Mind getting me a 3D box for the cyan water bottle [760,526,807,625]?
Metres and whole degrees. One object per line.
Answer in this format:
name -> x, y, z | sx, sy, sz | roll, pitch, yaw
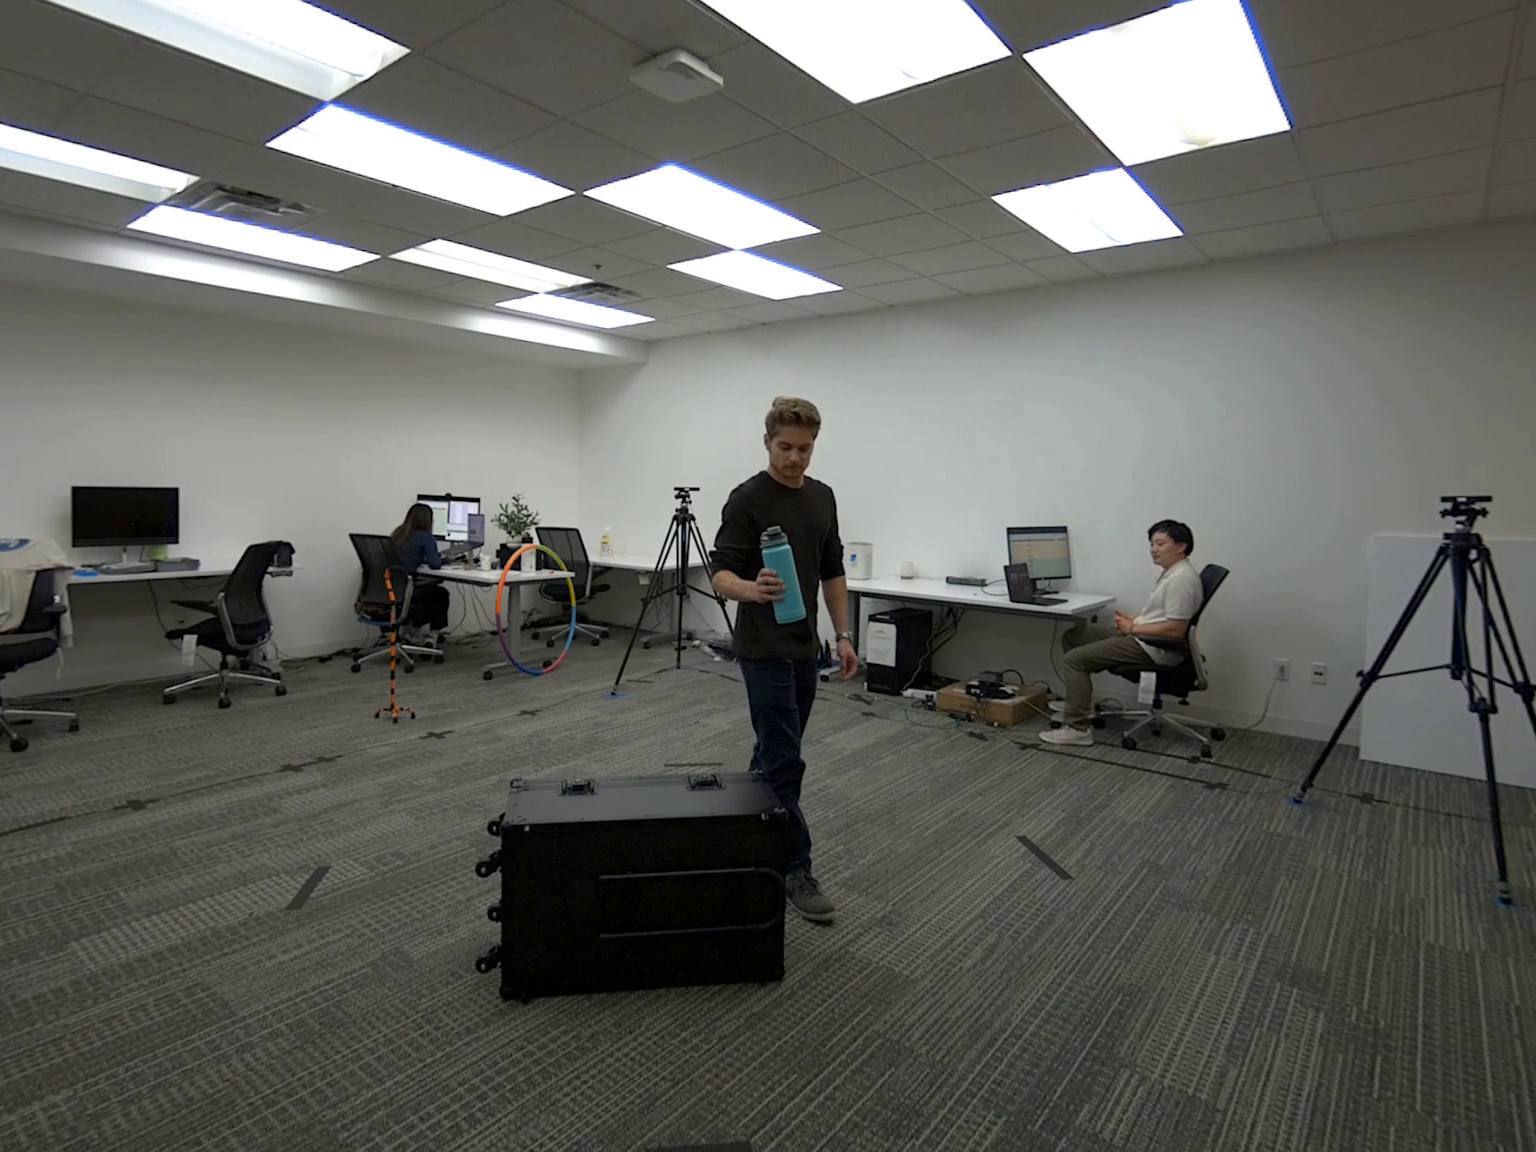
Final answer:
cyan water bottle -> 0.030, -0.011, 2.551 | 0.092, 0.282, 0.092 | -11, 3, -1
